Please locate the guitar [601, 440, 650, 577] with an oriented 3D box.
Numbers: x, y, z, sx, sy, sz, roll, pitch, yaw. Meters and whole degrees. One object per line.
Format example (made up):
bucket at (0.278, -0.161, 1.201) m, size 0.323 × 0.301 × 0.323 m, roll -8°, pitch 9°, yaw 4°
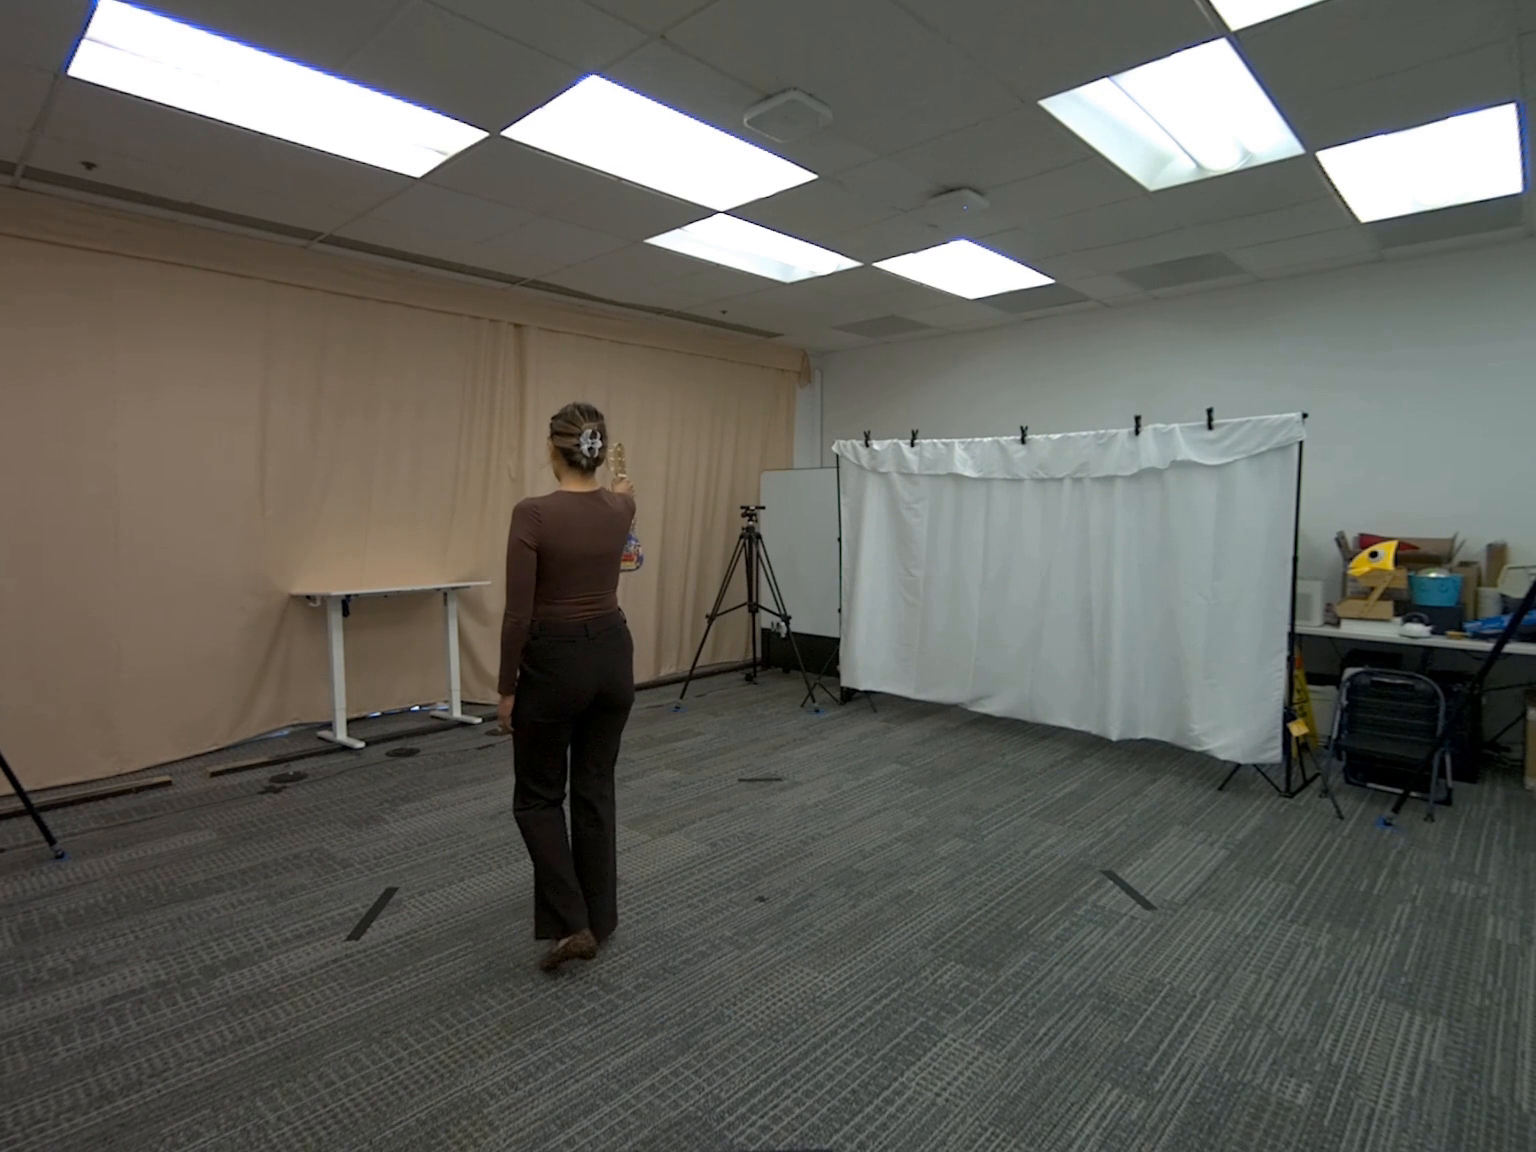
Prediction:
guitar at (-0.558, -0.257, 3.282) m, size 0.073 × 0.500 × 0.186 m, roll -5°, pitch -10°, yaw 35°
